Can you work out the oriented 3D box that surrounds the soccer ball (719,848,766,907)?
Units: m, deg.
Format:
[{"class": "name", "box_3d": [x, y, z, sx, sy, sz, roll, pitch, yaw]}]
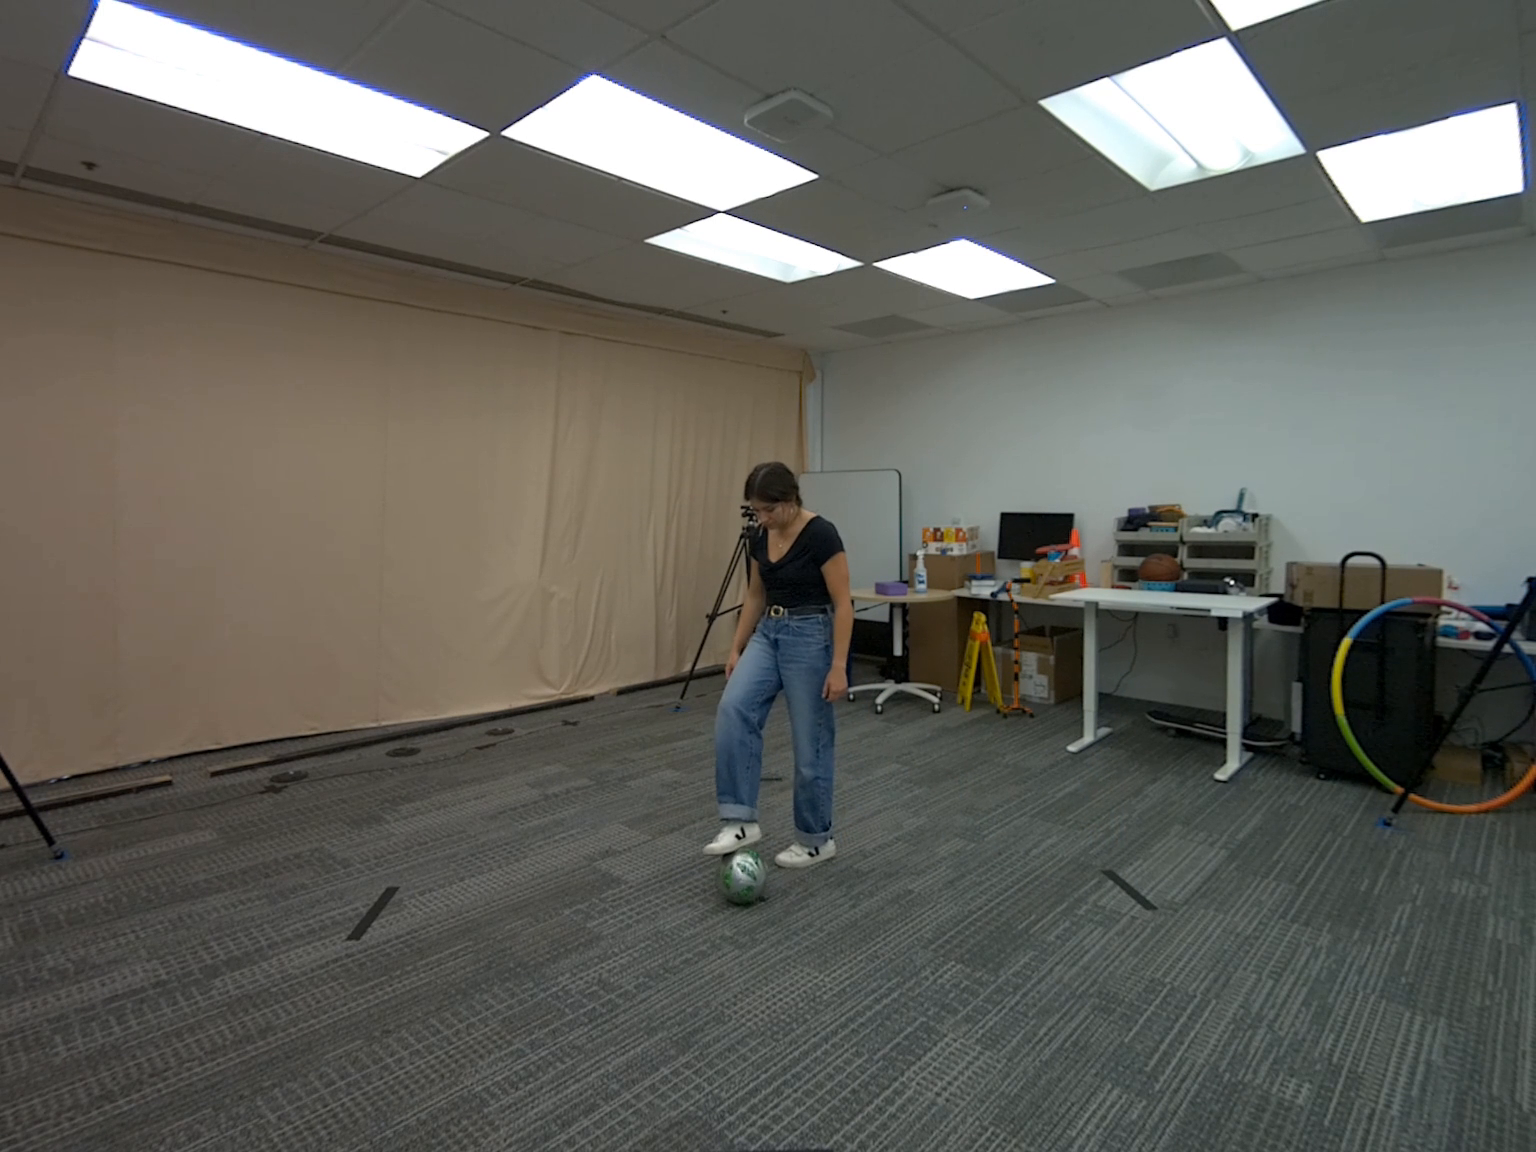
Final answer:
[{"class": "soccer ball", "box_3d": [-0.086, 1.054, 2.974, 0.187, 0.187, 0.188, 0, 4, -2]}]
